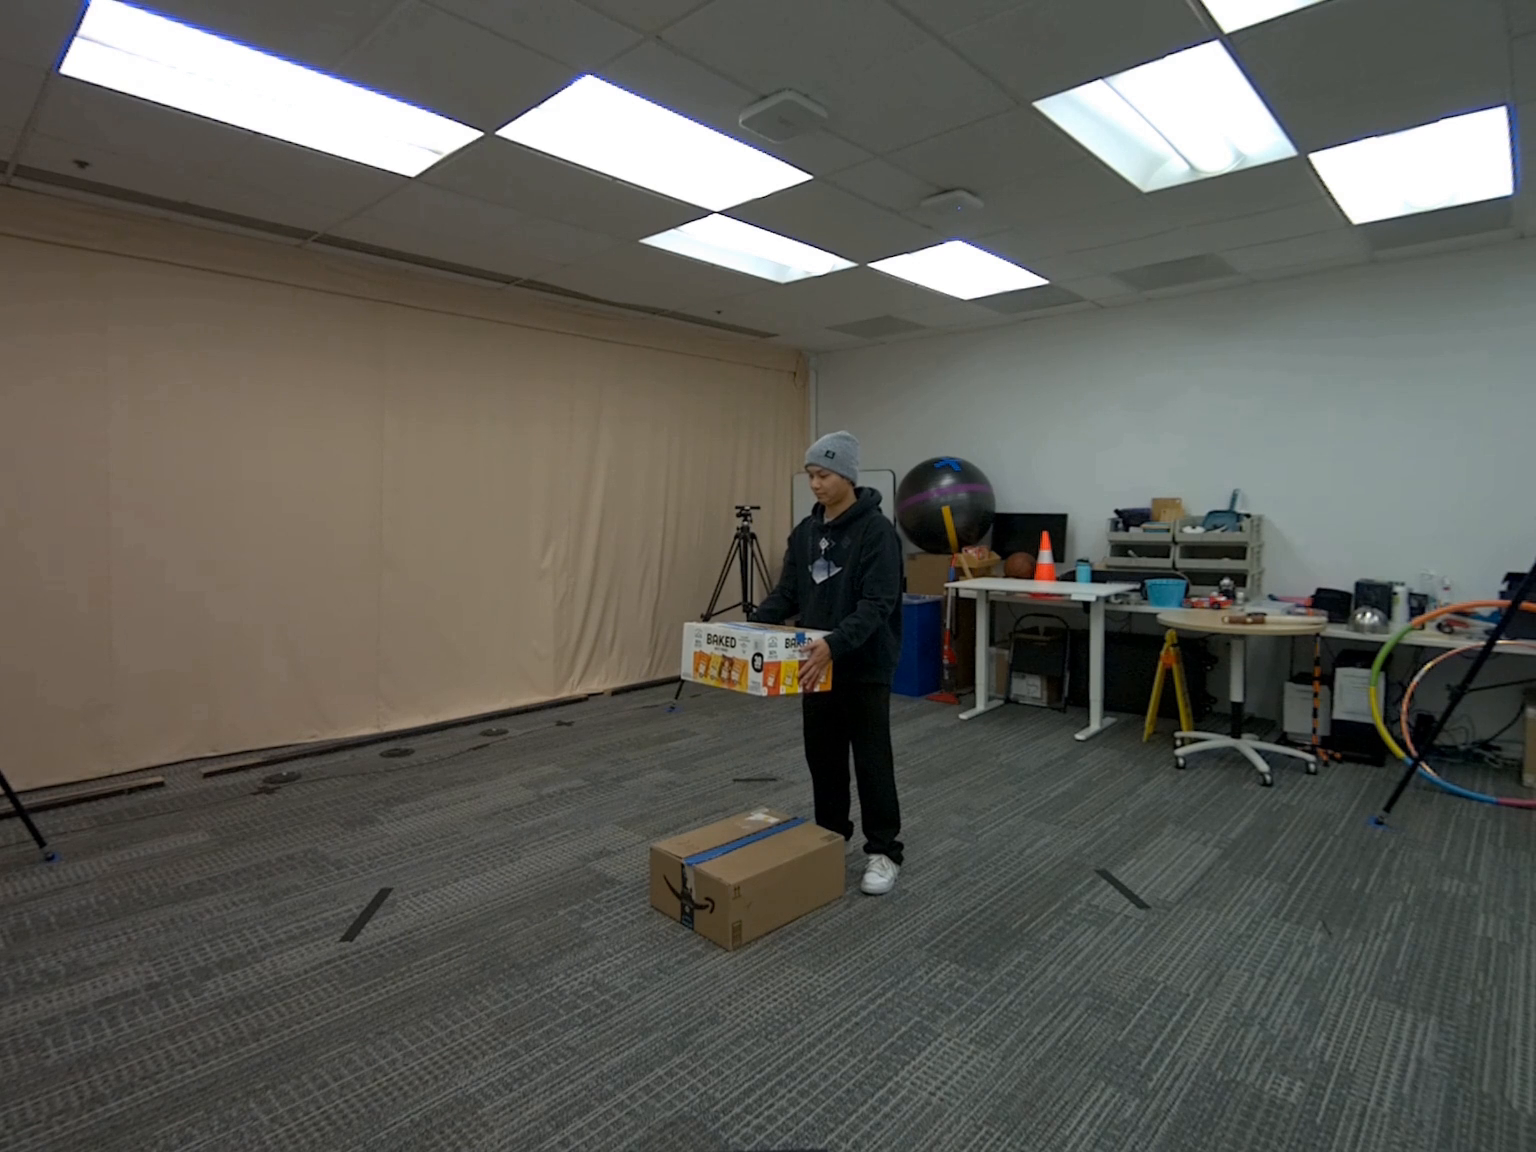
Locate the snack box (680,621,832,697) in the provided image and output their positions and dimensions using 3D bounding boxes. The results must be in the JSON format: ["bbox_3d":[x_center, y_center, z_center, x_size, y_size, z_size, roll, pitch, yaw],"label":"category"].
[{"bbox_3d":[-0.040,0.283,2.946,0.329,0.206,0.418,4,0,-43],"label":"snack box"}]
